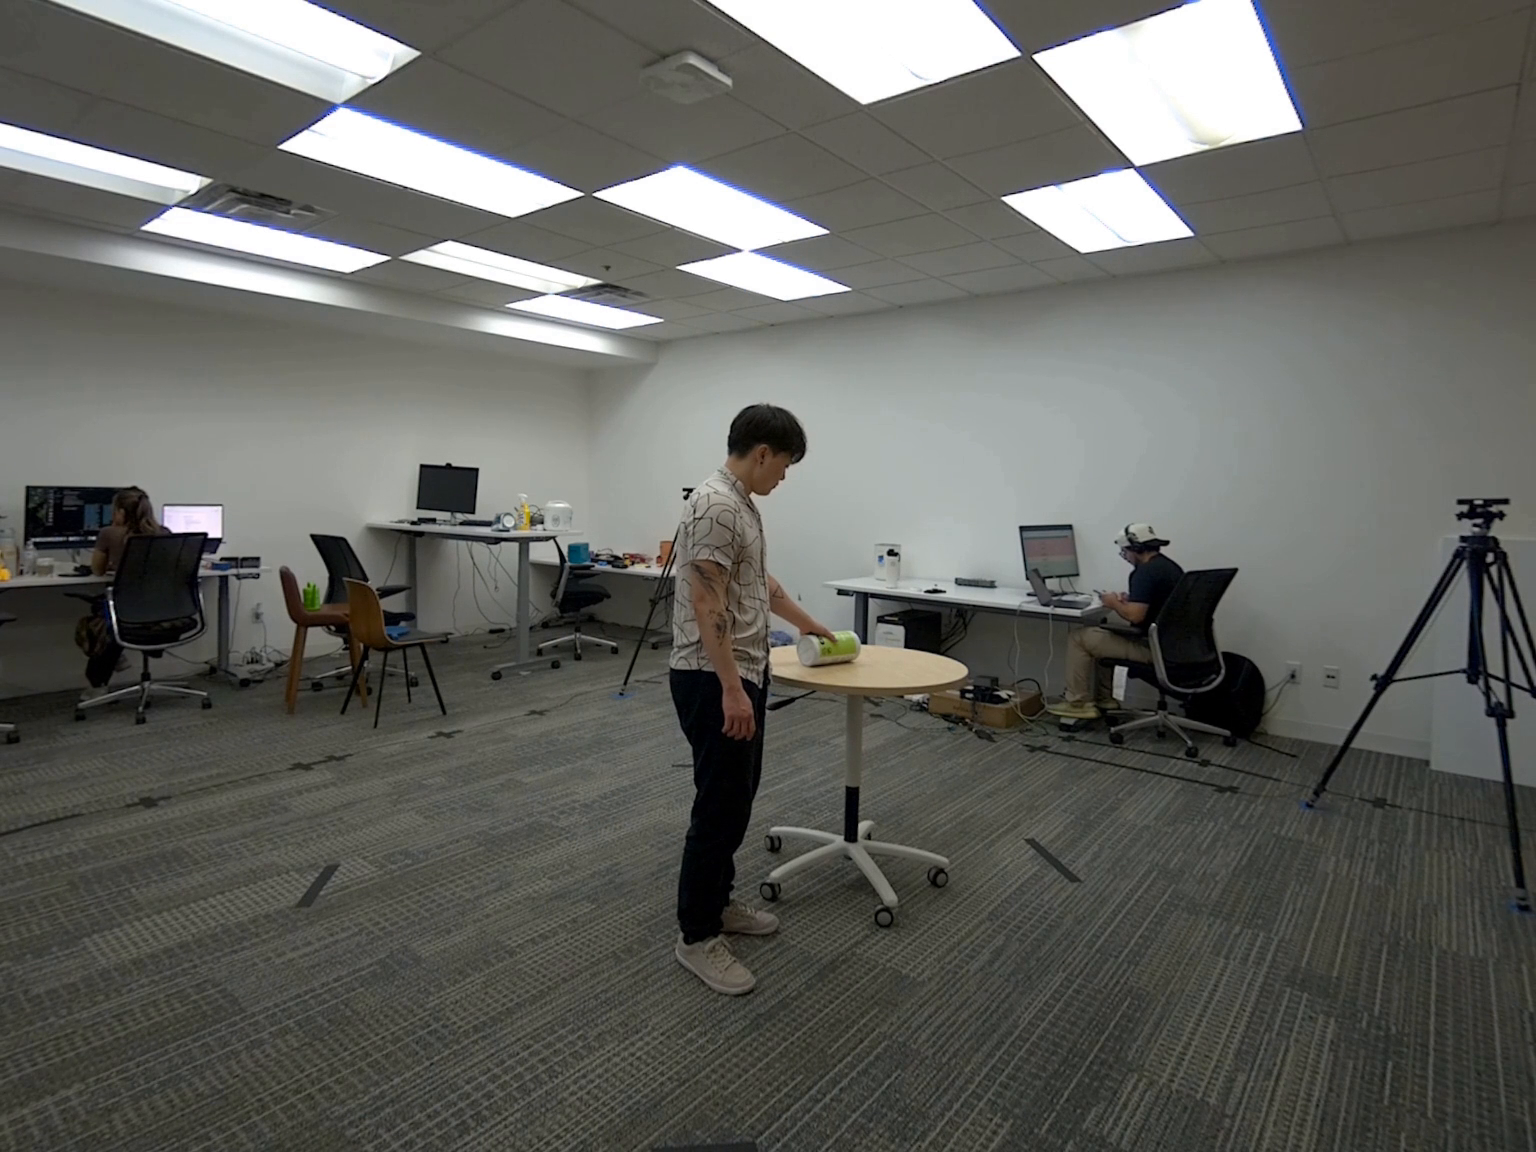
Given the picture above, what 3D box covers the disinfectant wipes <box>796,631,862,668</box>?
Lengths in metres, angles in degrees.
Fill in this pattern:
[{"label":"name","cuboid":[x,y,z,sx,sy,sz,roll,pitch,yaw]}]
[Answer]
[{"label":"disinfectant wipes","cuboid":[0.210,0.252,2.995,0.211,0.117,0.121,-2,5,-33]}]
